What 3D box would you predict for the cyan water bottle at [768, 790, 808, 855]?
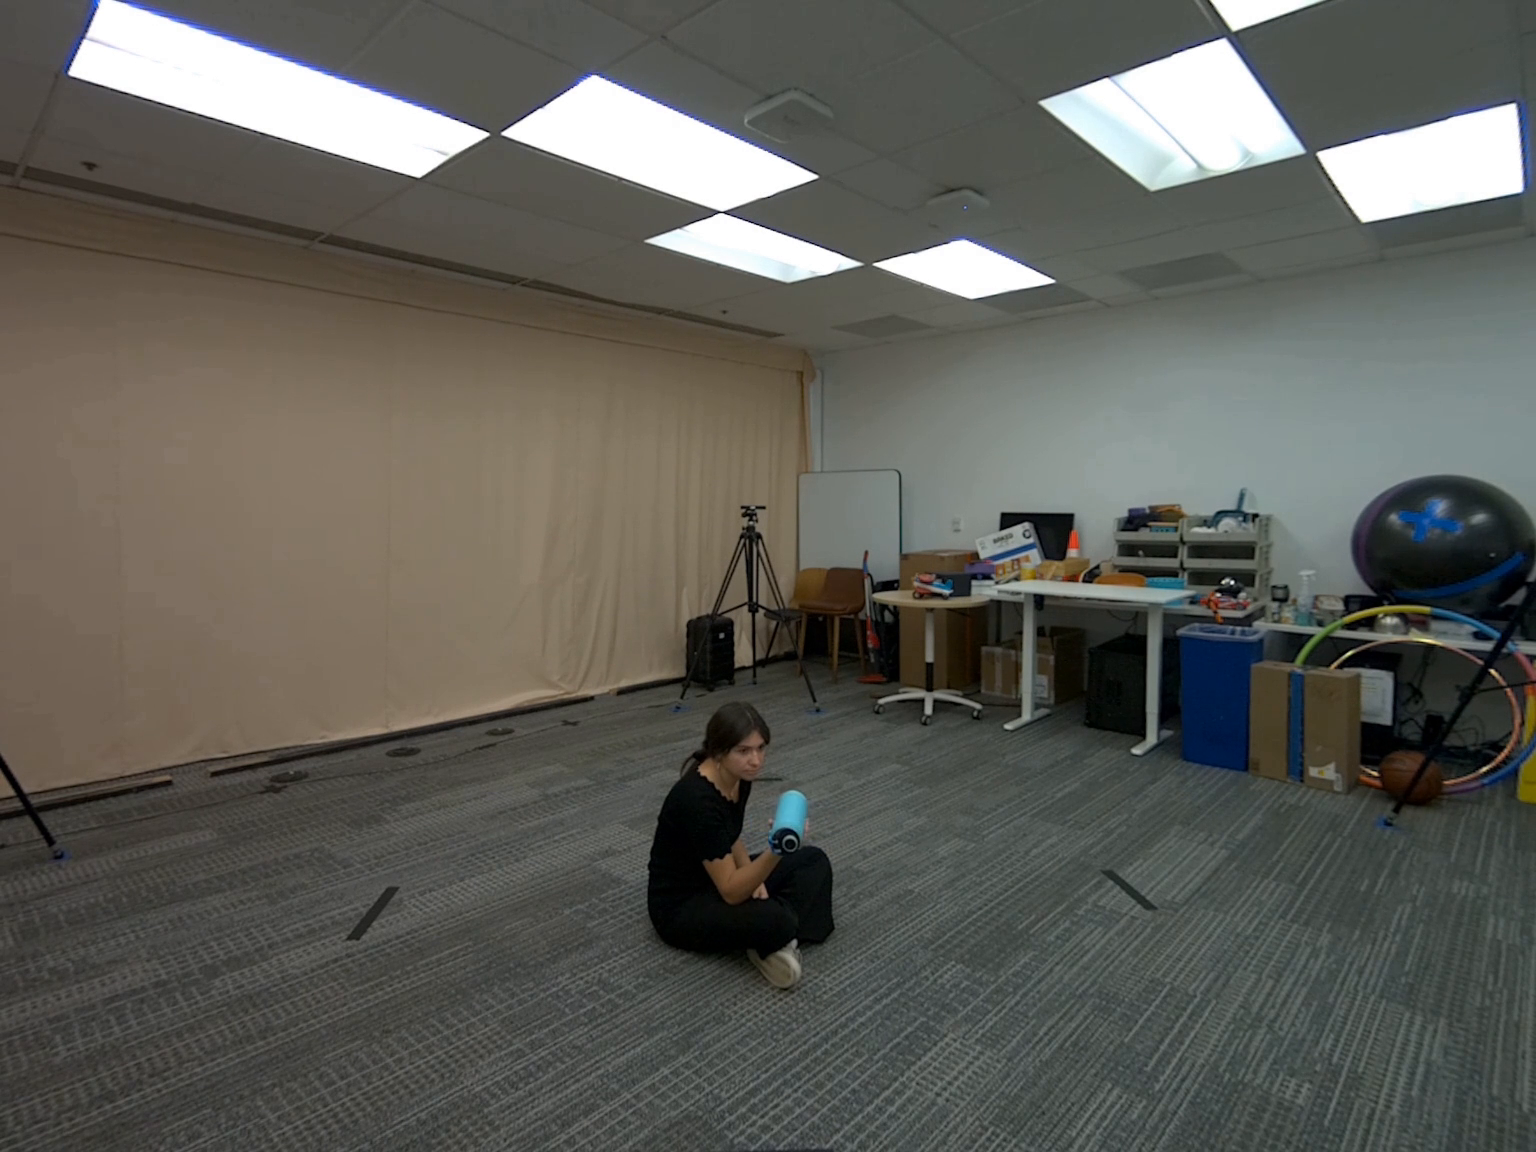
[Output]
[{"bbox_3d":[0.070,0.713,2.407,0.093,0.092,0.282,0,8,7],"label":"cyan water bottle"}]
